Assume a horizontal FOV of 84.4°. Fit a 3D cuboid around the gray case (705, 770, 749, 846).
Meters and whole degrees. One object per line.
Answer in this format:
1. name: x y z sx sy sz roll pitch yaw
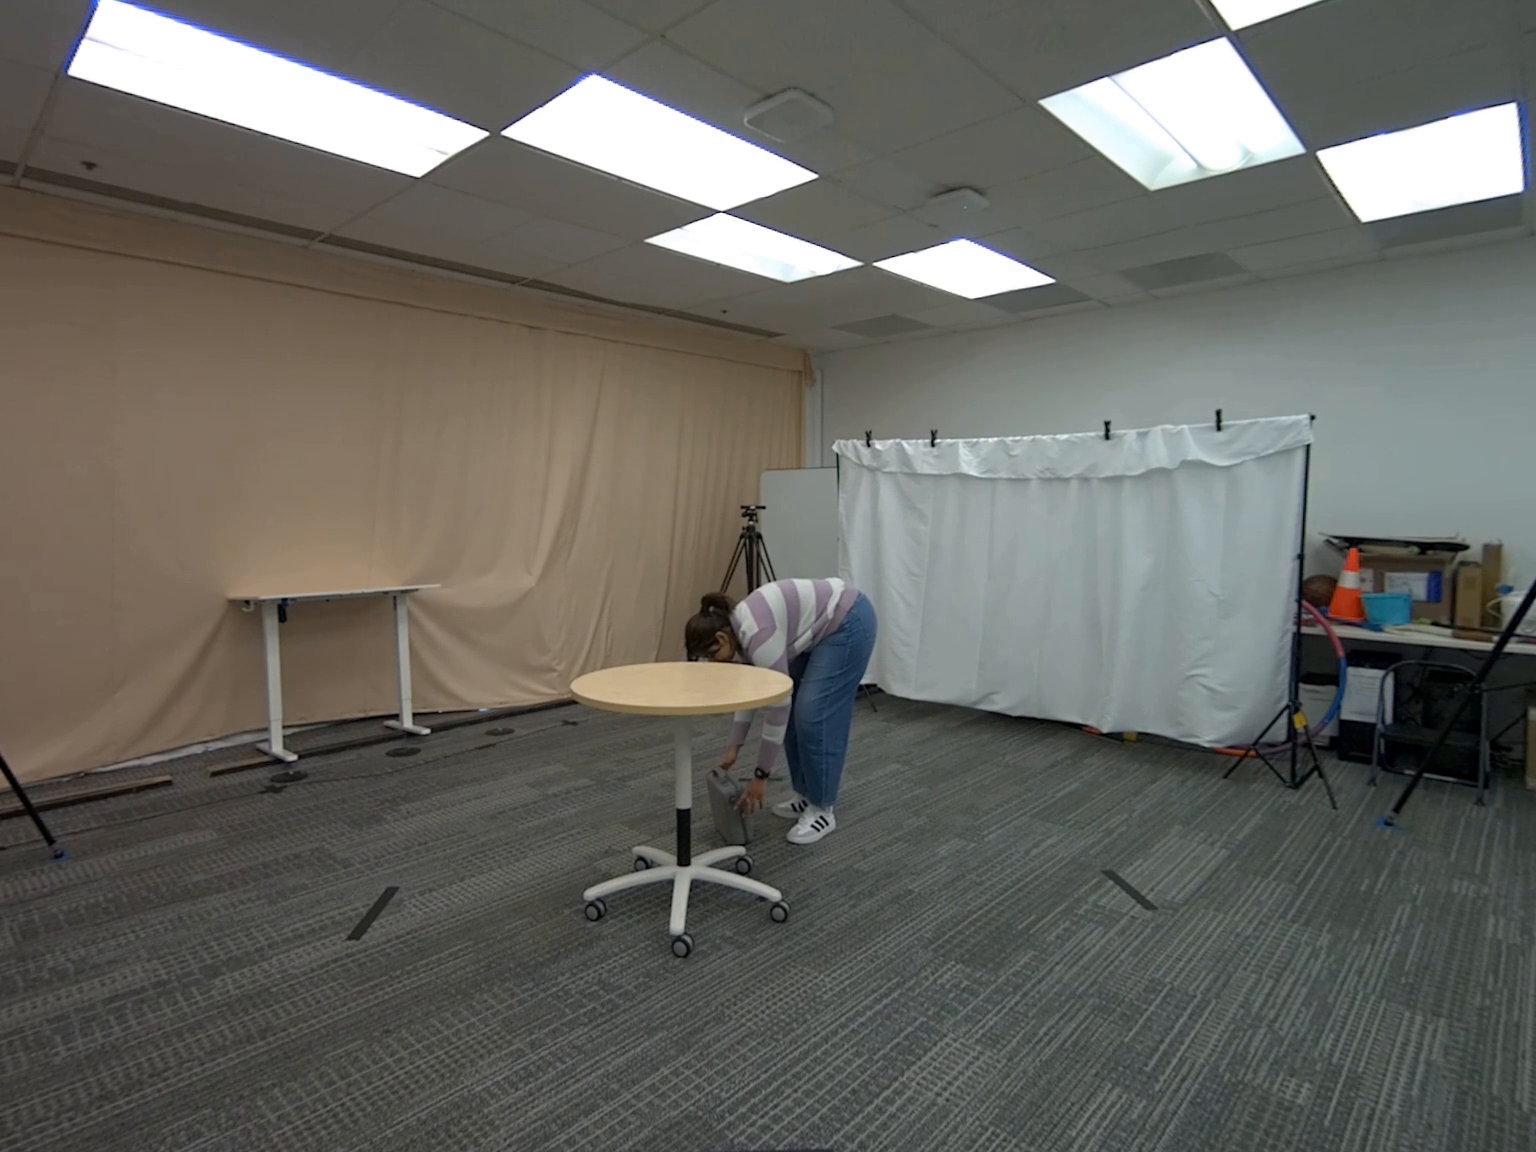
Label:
1. gray case: -0.158 0.968 3.544 0.102 0.259 0.262 -9 6 -19
